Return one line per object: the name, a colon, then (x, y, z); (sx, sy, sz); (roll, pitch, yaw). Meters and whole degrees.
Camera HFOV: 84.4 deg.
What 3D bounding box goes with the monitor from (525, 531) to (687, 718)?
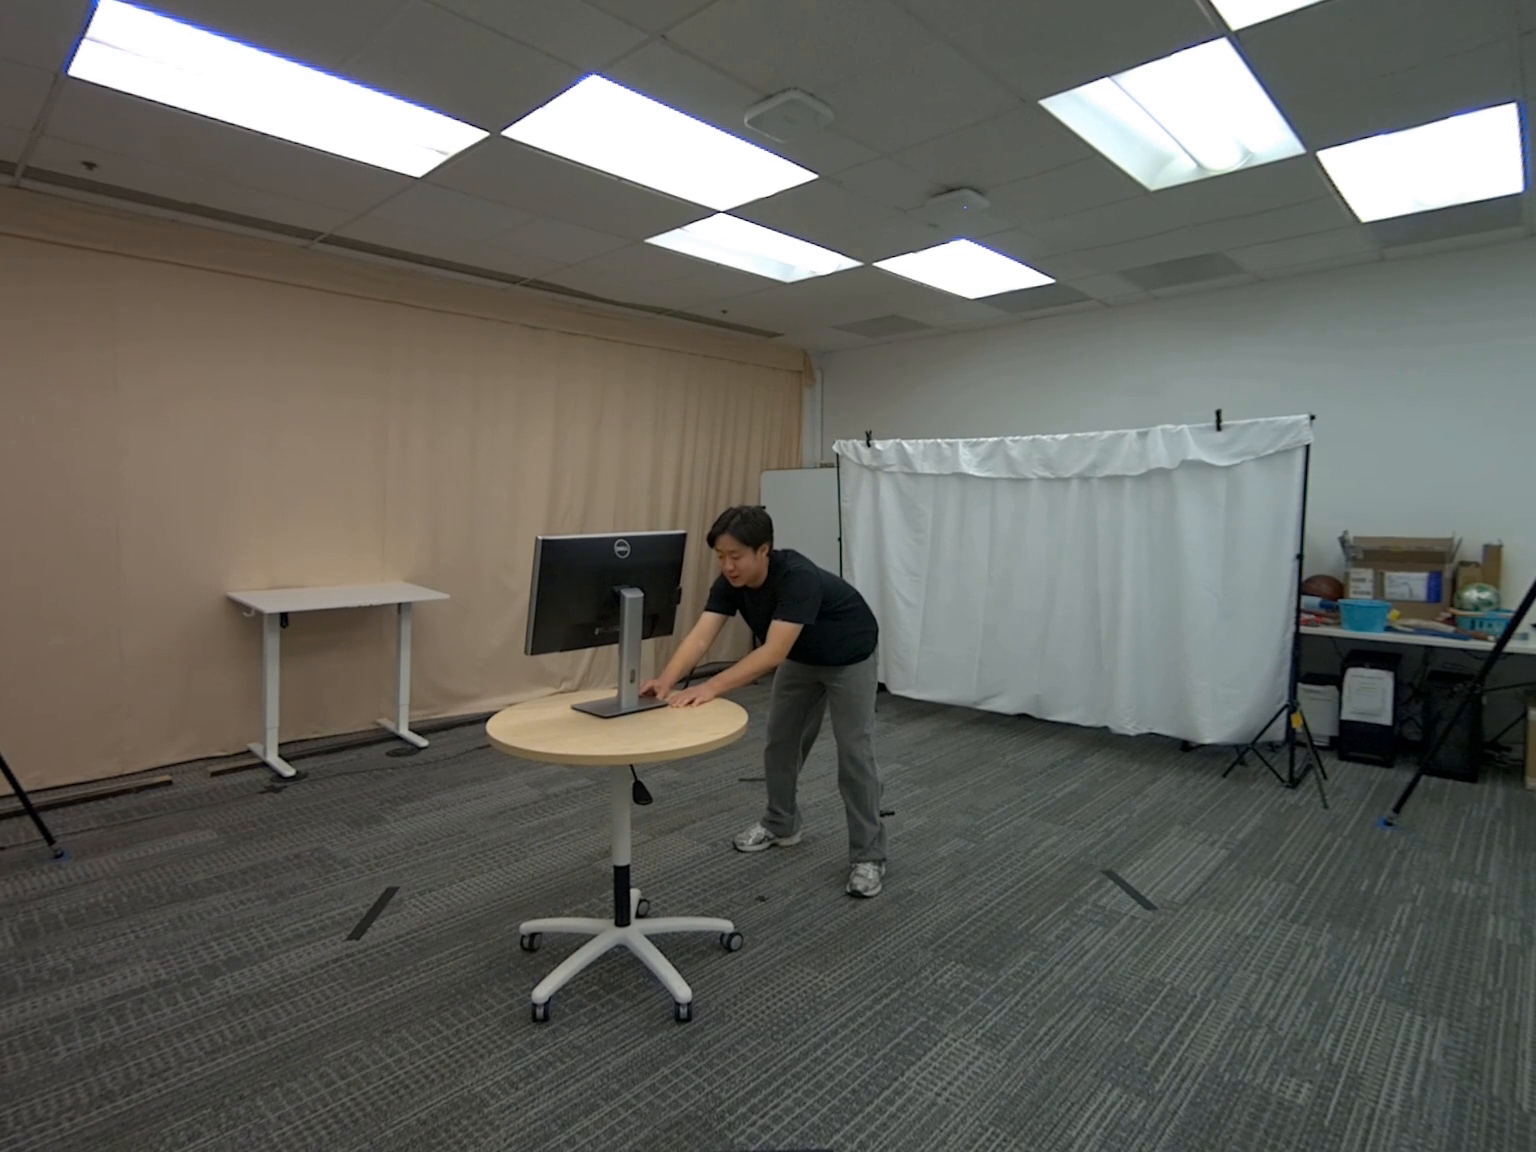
monitor: (-0.451, 0.144, 2.580); (0.217, 0.551, 0.548); (12, 11, 43)
